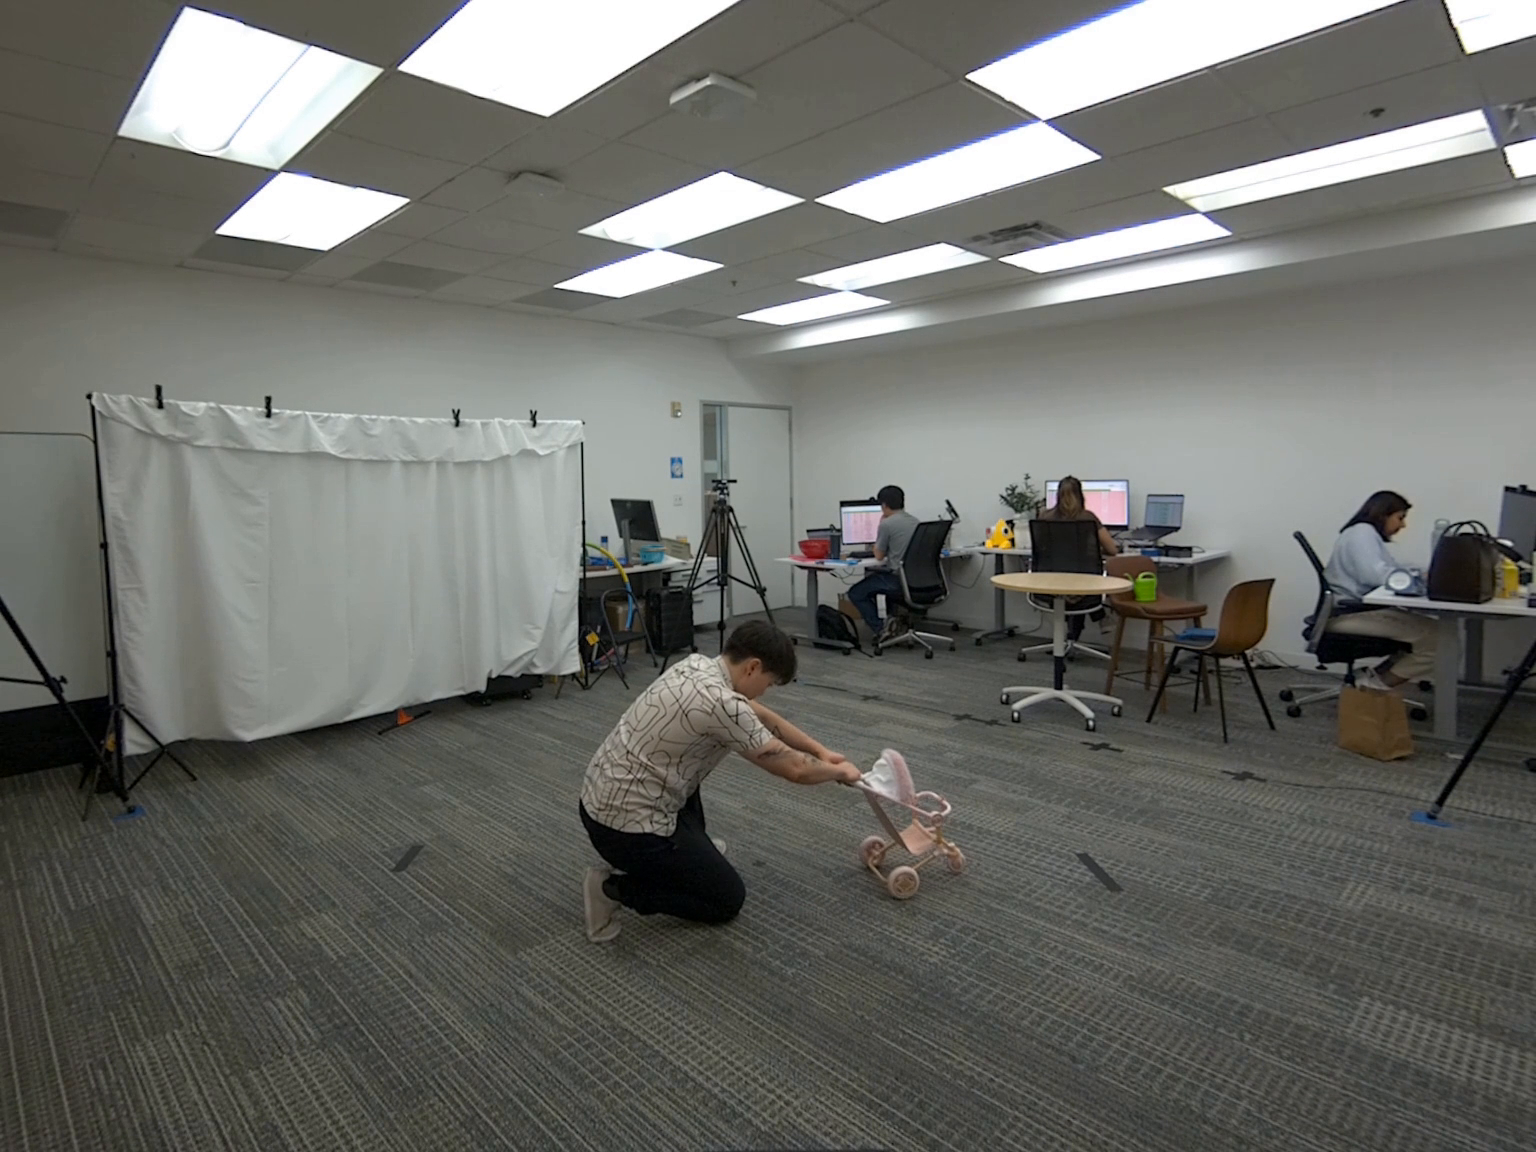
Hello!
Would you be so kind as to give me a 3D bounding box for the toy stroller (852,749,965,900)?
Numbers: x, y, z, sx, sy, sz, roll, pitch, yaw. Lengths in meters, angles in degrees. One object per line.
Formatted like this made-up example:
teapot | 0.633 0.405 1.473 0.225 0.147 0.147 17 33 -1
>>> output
toy stroller | 0.457 0.826 2.944 0.339 0.531 0.285 -20 7 -9
